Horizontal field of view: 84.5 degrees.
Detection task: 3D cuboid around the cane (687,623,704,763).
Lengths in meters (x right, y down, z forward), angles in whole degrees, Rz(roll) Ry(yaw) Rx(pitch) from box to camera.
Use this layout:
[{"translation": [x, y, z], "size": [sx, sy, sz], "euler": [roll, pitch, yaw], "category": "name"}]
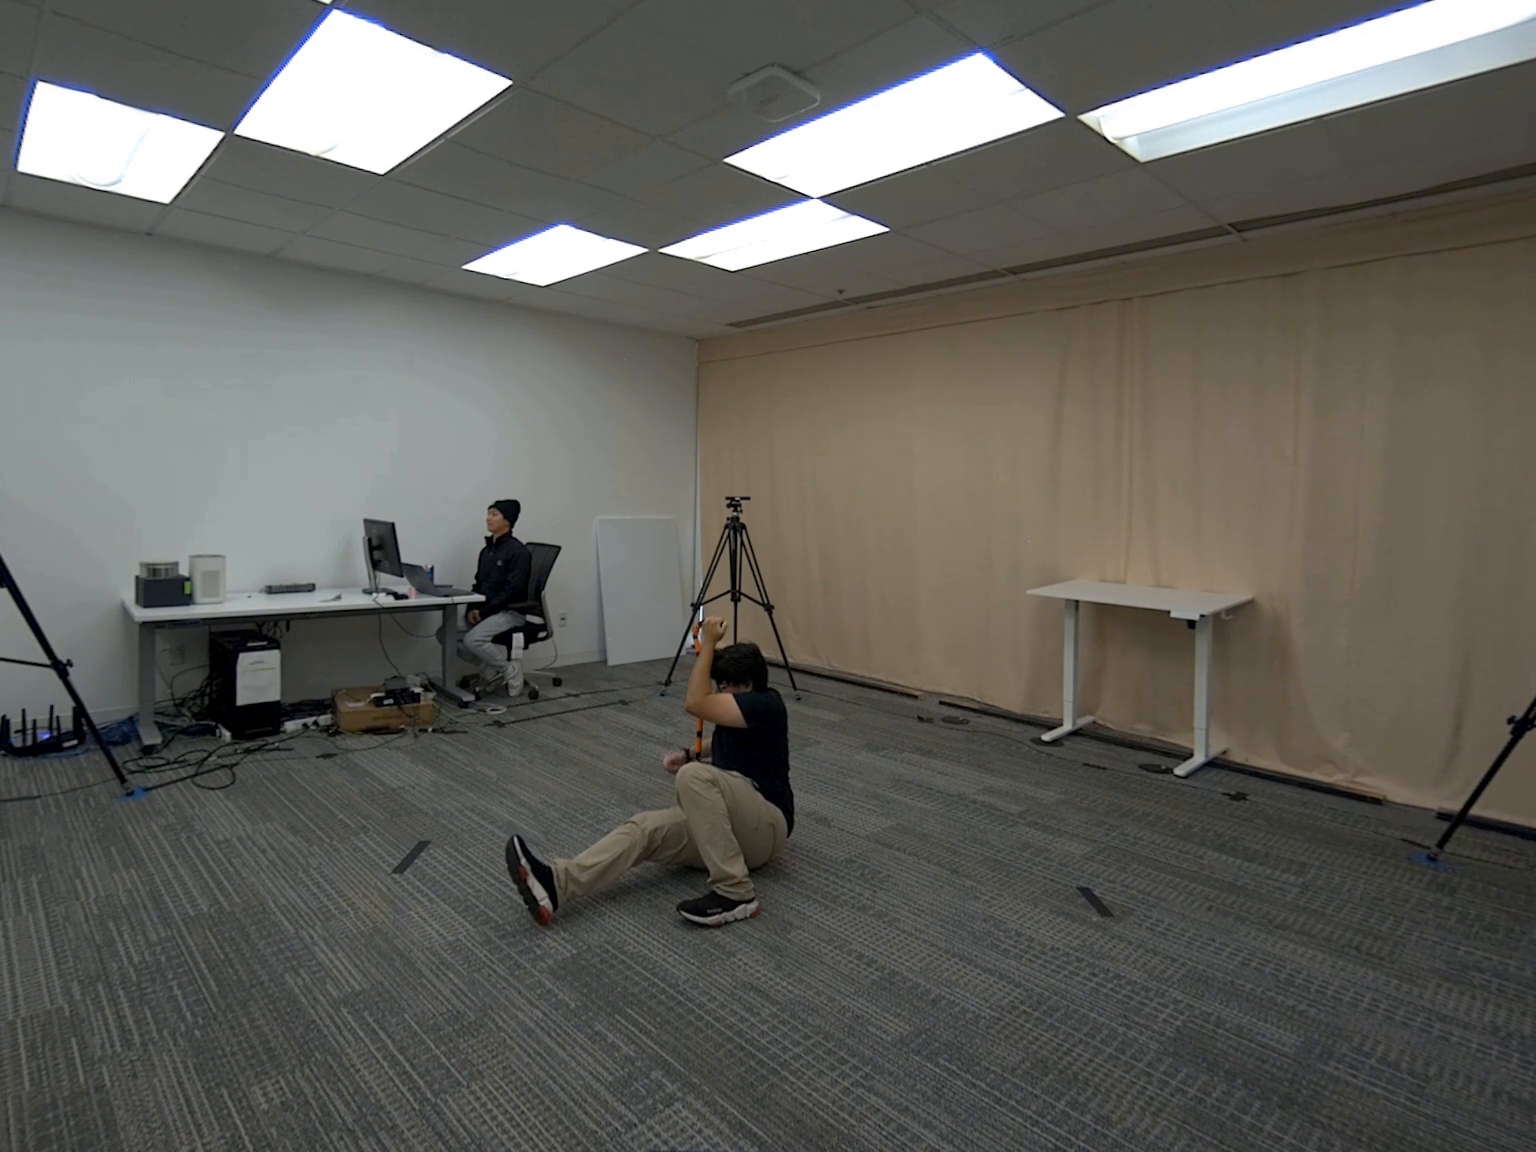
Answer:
[{"translation": [-0.268, 0.613, 3.376], "size": [0.148, 0.906, 0.212], "euler": [0, 5, -43], "category": "cane"}]
